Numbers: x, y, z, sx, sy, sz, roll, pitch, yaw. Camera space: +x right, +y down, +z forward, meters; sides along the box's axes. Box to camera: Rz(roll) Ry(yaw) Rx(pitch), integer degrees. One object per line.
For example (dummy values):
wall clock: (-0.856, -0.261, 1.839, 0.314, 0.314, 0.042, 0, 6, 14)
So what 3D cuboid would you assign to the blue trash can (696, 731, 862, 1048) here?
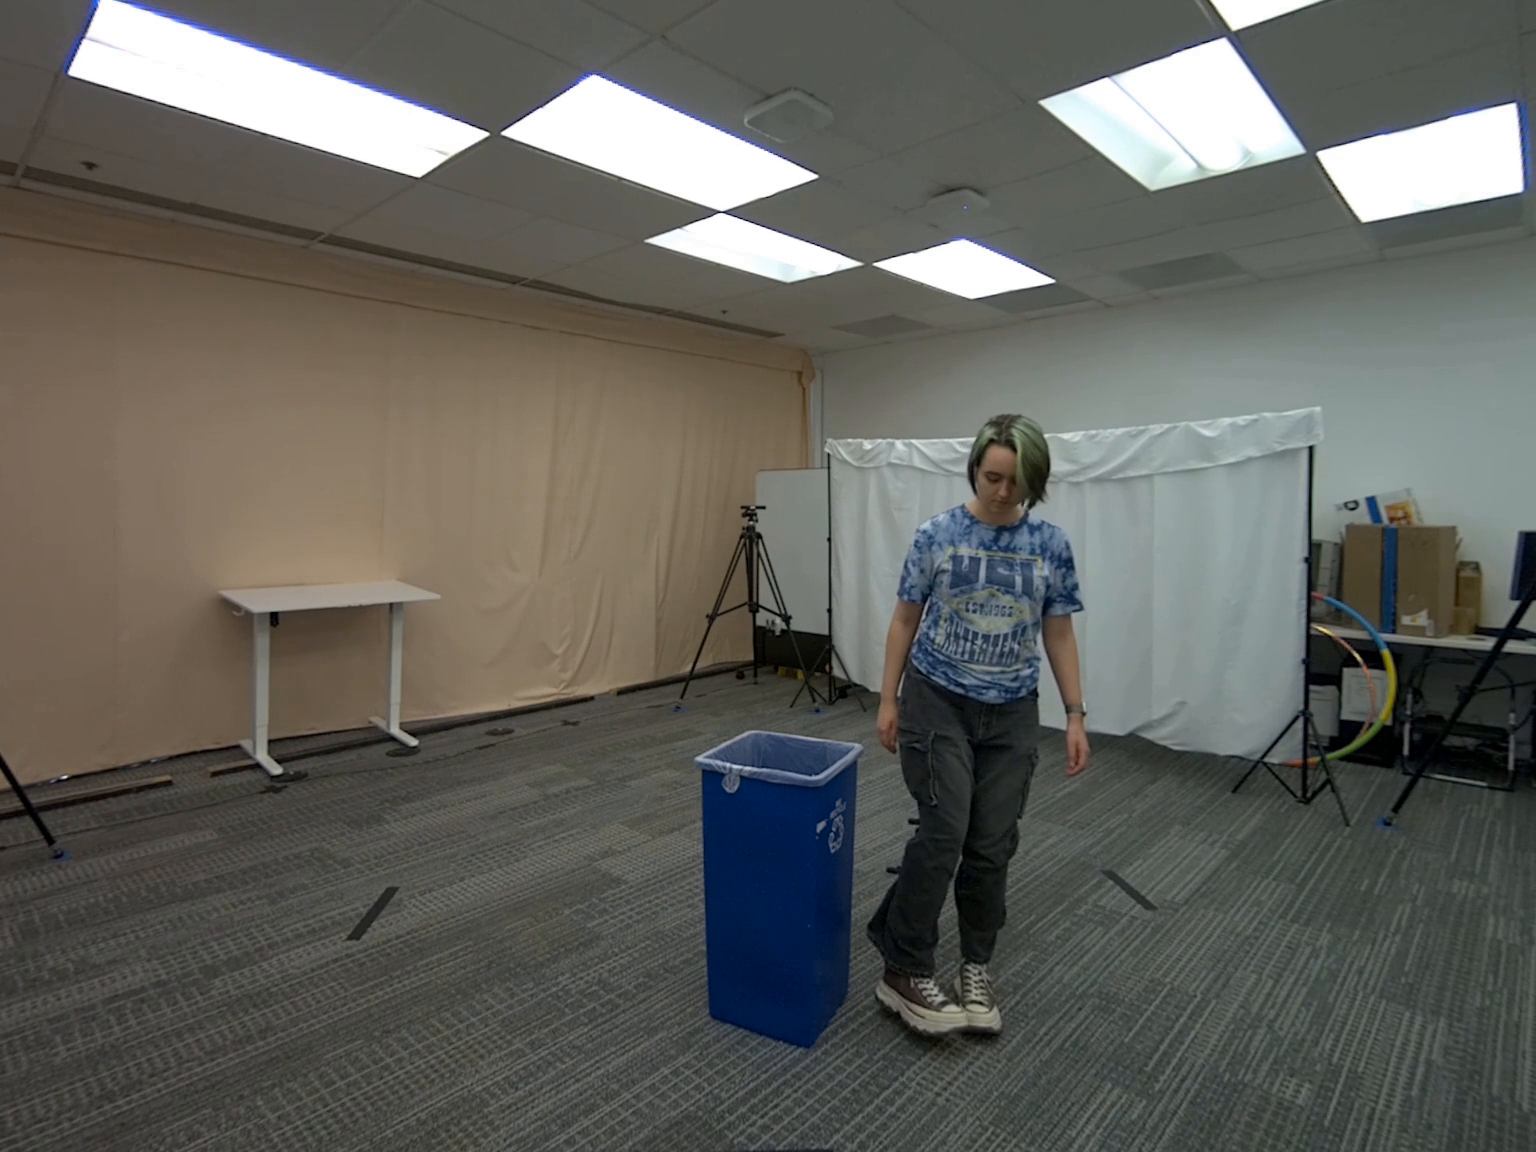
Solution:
blue trash can: (0.041, 0.841, 2.343, 0.388, 0.712, 0.365, 2, 3, 26)
